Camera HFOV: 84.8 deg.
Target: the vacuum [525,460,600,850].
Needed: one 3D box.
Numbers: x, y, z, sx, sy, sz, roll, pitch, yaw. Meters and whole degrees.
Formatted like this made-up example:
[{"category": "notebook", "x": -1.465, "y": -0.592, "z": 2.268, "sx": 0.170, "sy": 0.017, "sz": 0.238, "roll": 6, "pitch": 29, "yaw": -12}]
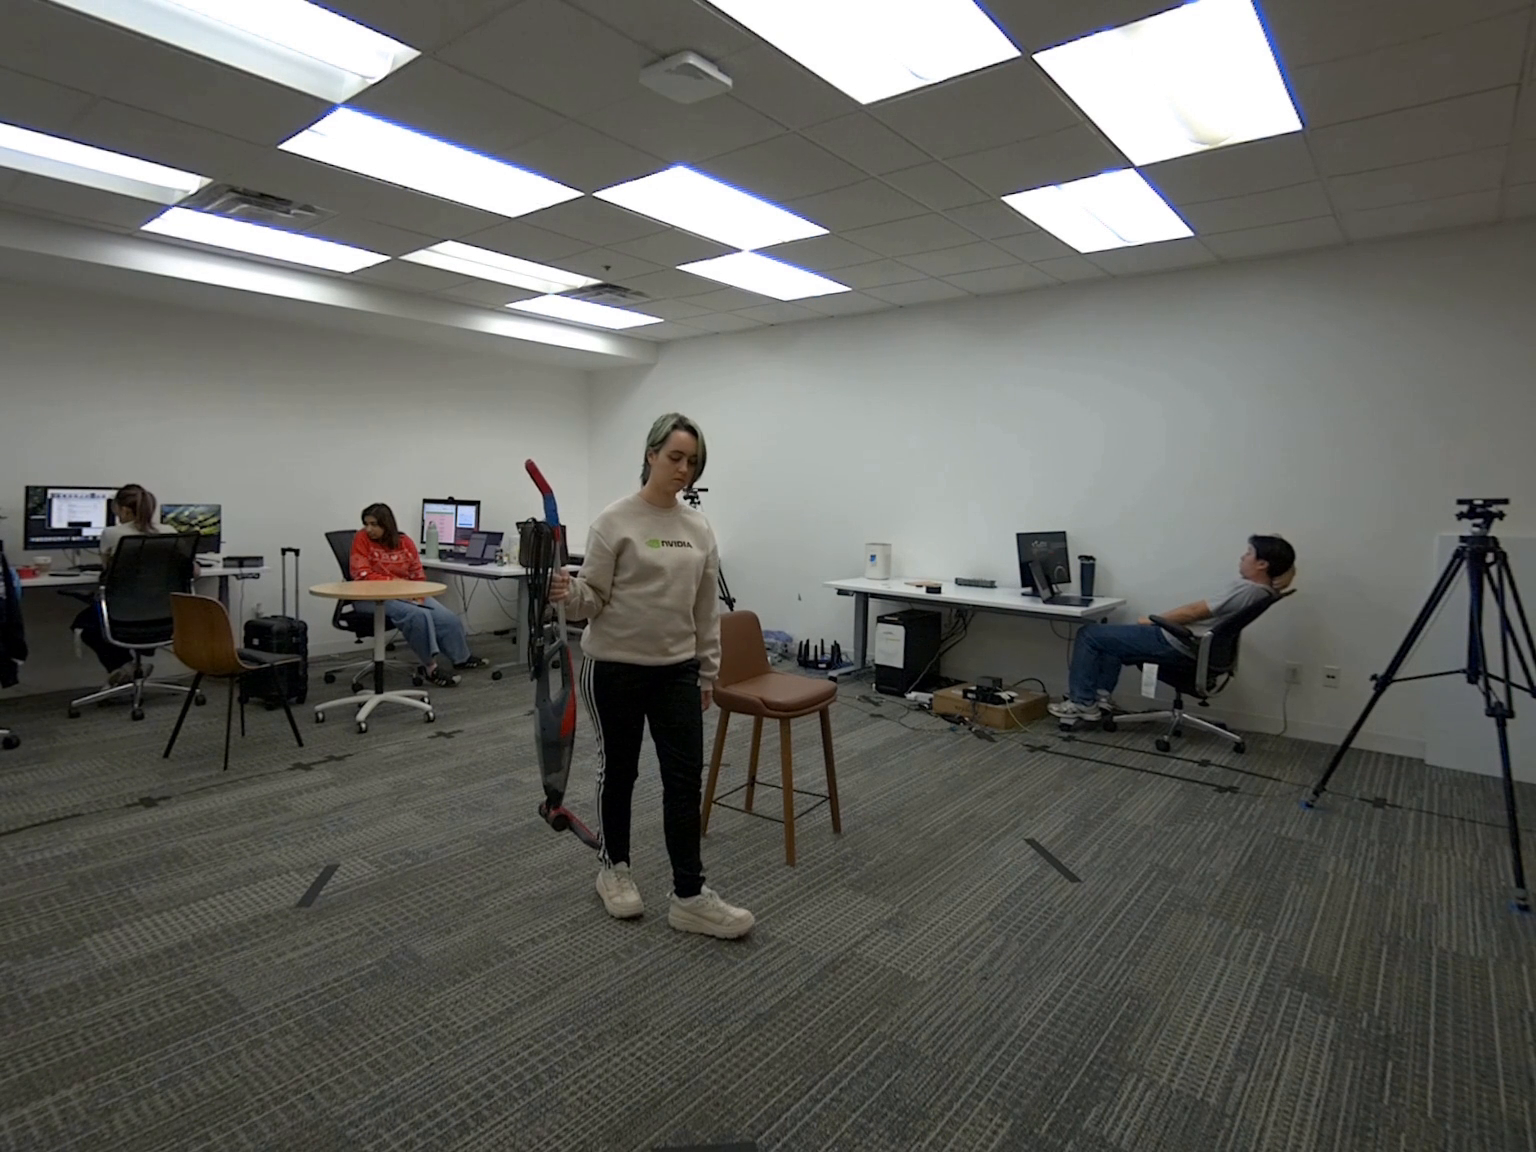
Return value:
[{"category": "vacuum", "x": -0.630, "y": 0.198, "z": 2.420, "sx": 0.140, "sy": 1.044, "sz": 0.260, "roll": -7, "pitch": 6, "yaw": -34}]
